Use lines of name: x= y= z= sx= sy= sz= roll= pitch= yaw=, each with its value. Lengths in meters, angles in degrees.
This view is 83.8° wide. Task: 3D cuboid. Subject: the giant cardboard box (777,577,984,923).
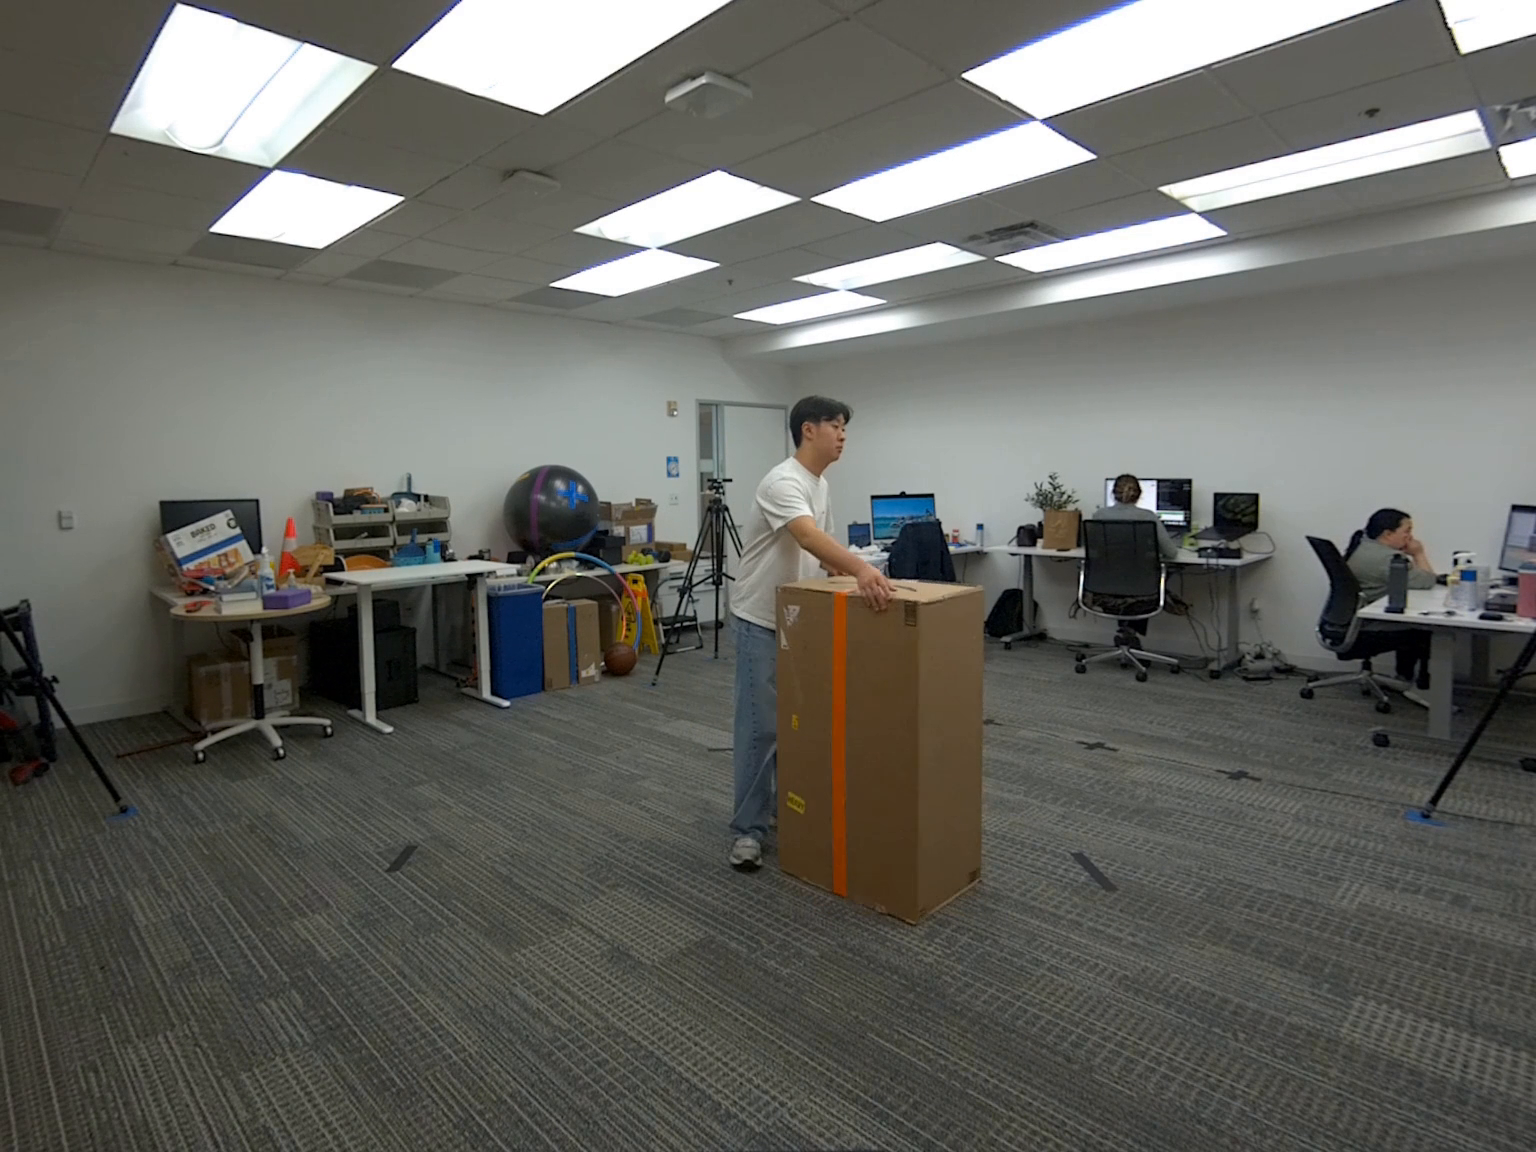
giant cardboard box: x=0.392 y=0.544 z=2.960 sx=0.595 sy=1.022 sz=0.415 roll=3 pitch=6 yaw=44
